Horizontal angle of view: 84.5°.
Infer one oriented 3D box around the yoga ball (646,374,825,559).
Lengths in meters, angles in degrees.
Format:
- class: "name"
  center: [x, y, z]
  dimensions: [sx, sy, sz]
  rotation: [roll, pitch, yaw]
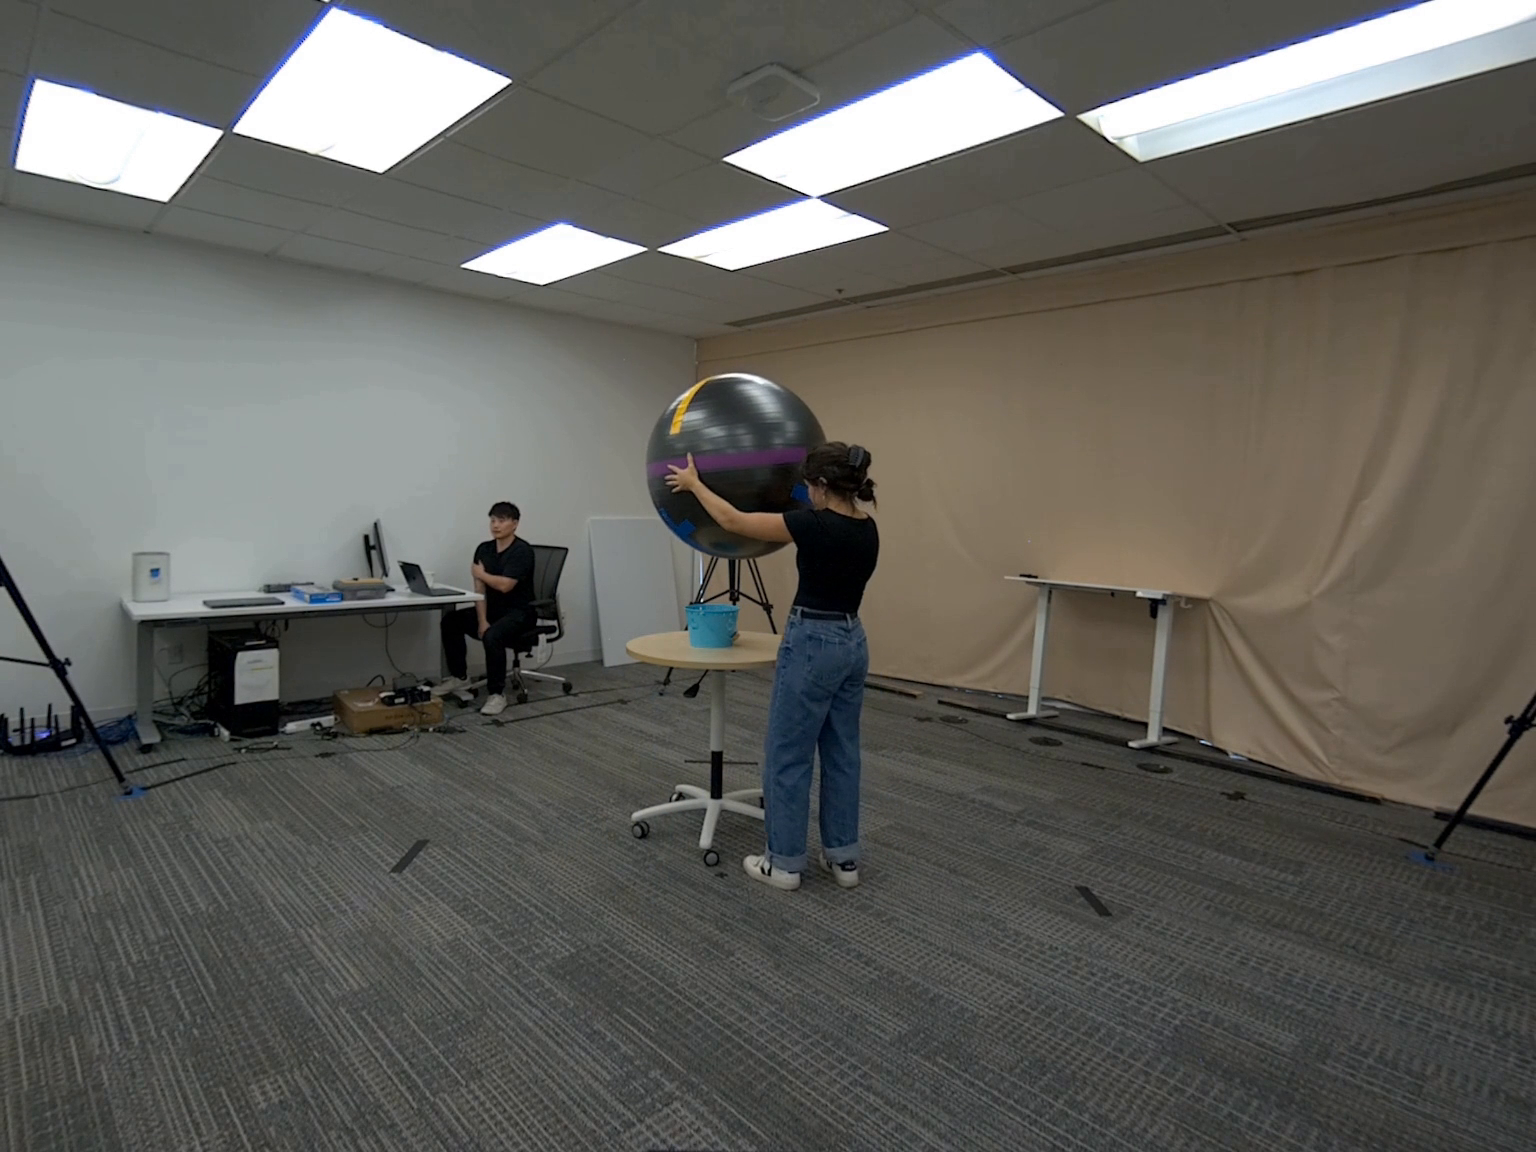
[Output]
- class: "yoga ball"
  center: [-0.130, -0.451, 3.480]
  dimensions: [0.757, 0.756, 0.761]
  rotation: [1, 4, -1]
